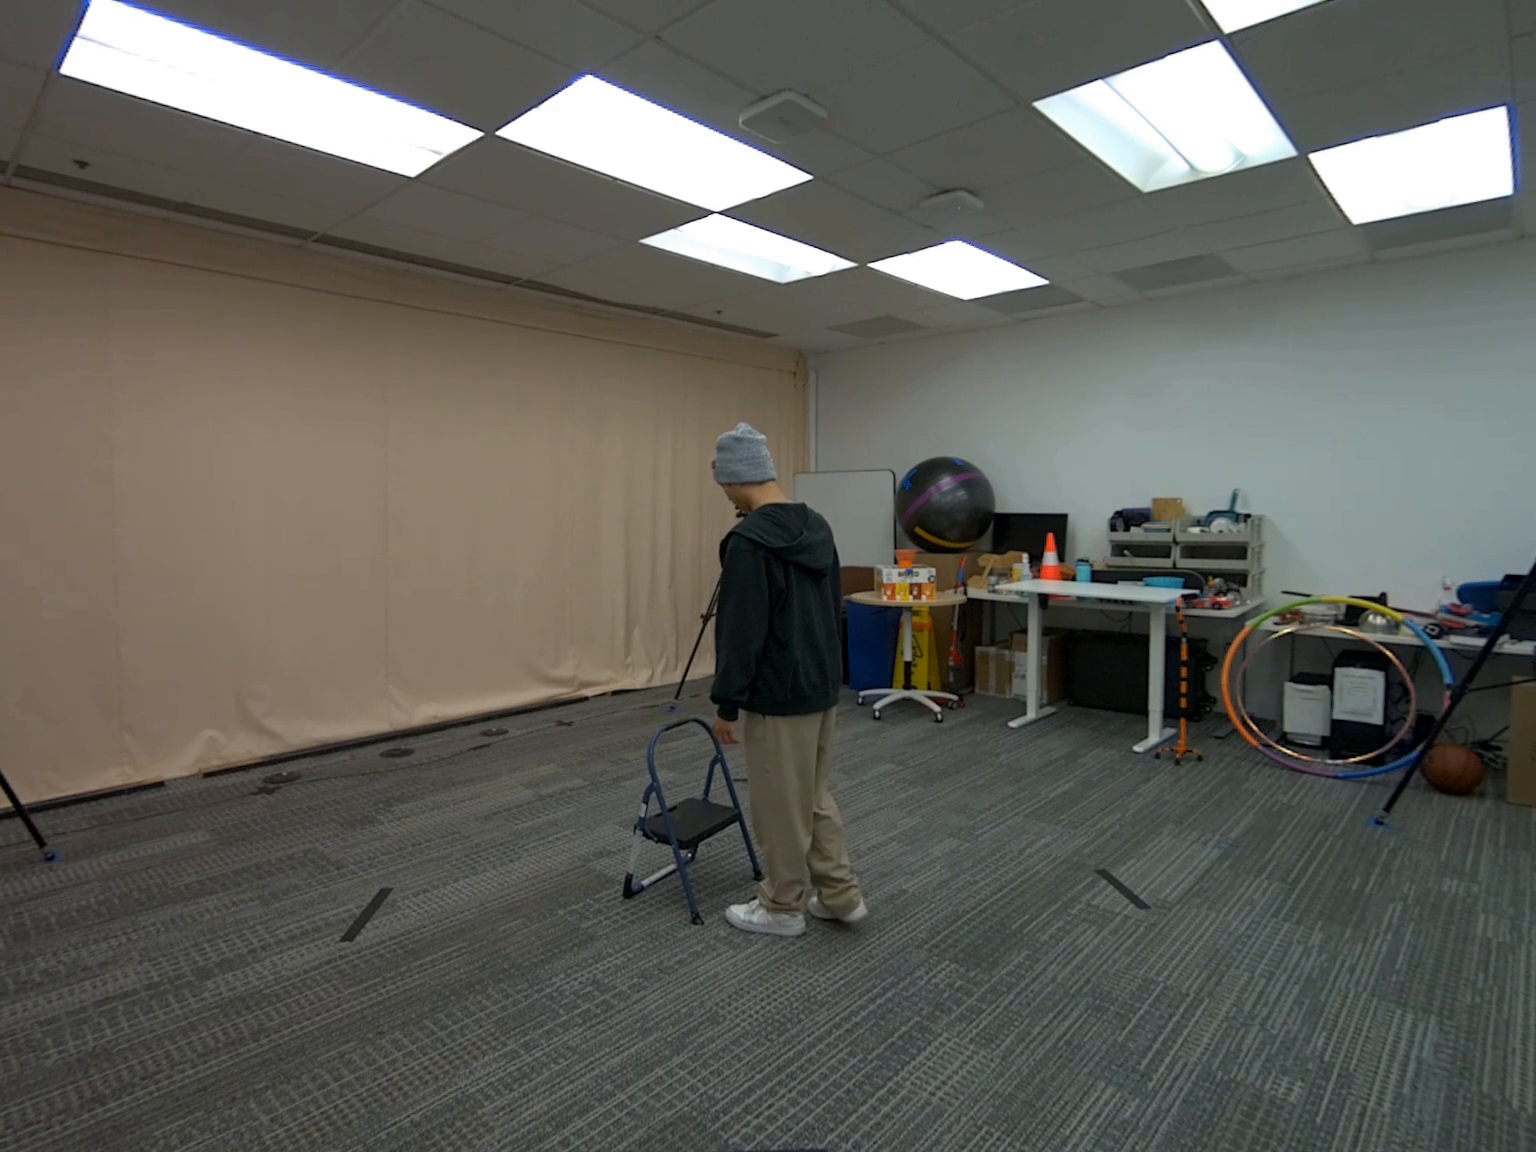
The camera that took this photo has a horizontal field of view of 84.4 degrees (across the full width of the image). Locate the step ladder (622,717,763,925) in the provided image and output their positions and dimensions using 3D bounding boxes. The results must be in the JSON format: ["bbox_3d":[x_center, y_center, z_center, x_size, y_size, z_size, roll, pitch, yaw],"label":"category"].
[{"bbox_3d":[-0.268,0.836,3.054,0.360,0.605,0.418,2,4,33],"label":"step ladder"}]
